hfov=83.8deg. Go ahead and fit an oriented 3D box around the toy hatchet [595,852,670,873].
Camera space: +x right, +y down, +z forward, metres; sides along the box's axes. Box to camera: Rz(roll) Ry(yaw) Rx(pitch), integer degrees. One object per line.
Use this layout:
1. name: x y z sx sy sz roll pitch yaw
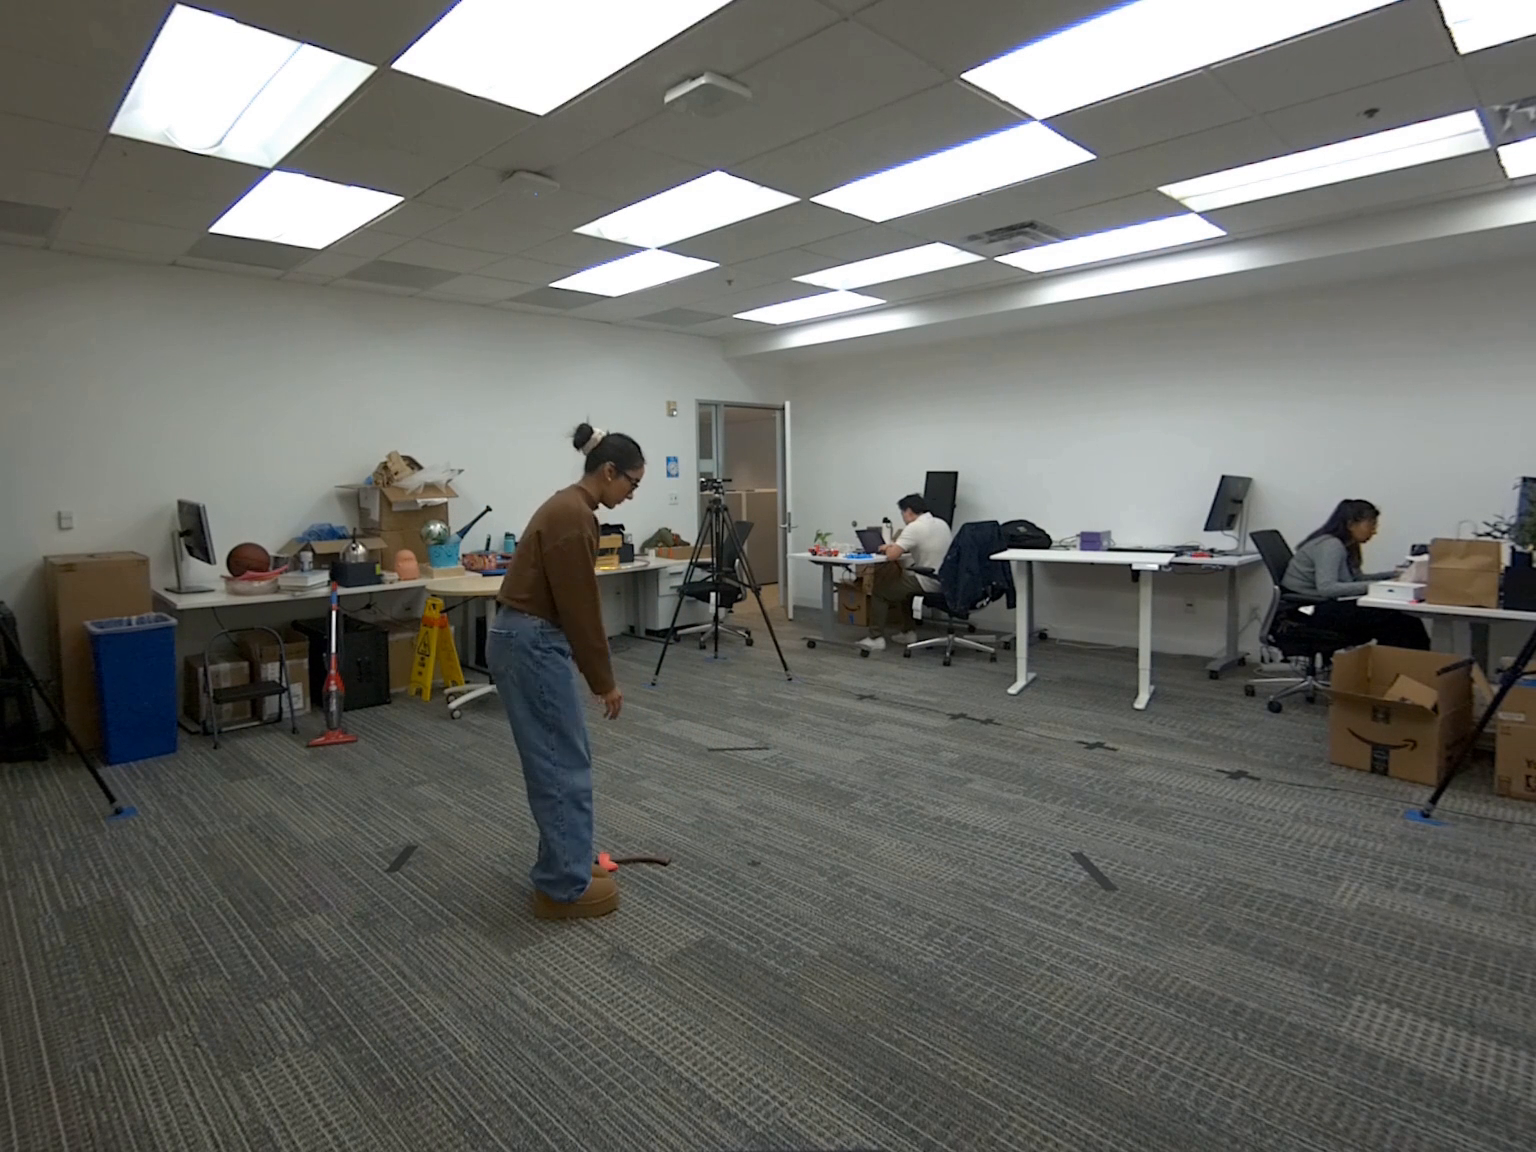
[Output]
1. toy hatchet: -0.494 1.043 3.092 0.273 0.029 0.130 2 8 10
